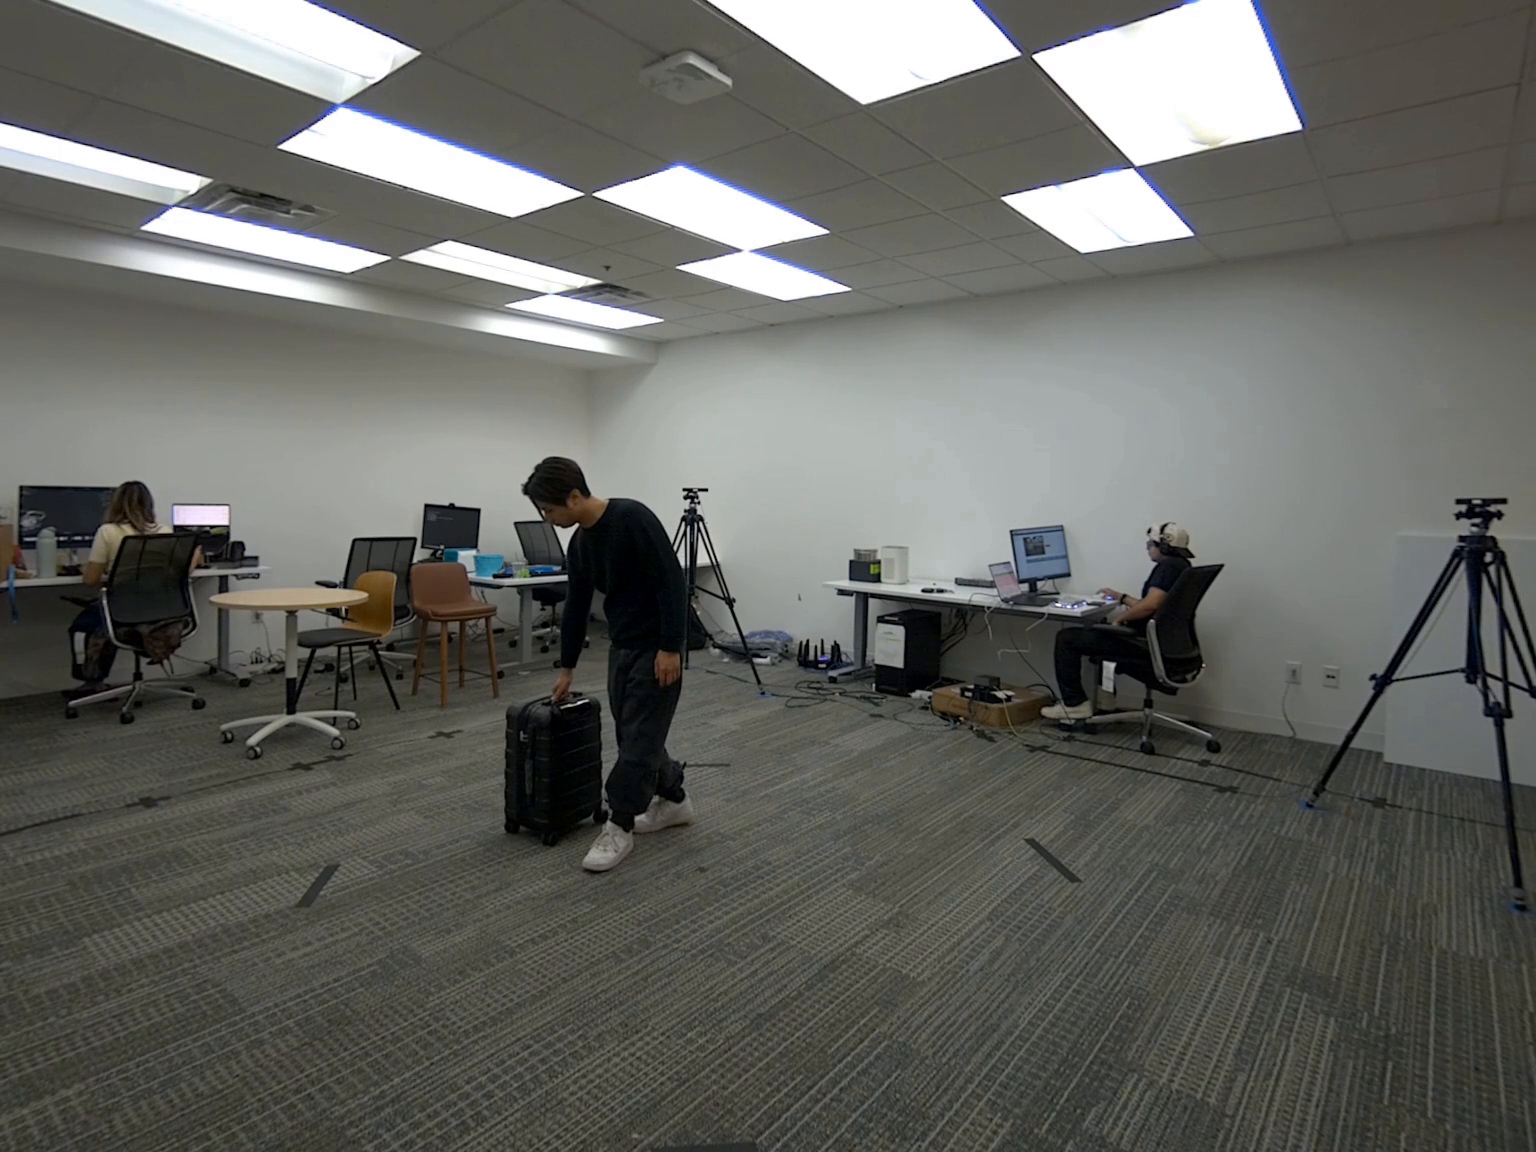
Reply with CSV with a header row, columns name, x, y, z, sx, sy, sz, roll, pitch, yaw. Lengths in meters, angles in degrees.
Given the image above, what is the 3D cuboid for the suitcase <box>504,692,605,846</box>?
name,x,y,z,sx,sy,sz,roll,pitch,yaw
suitcase,-0.882,0.752,3.453,0.256,0.547,0.365,3,5,33
